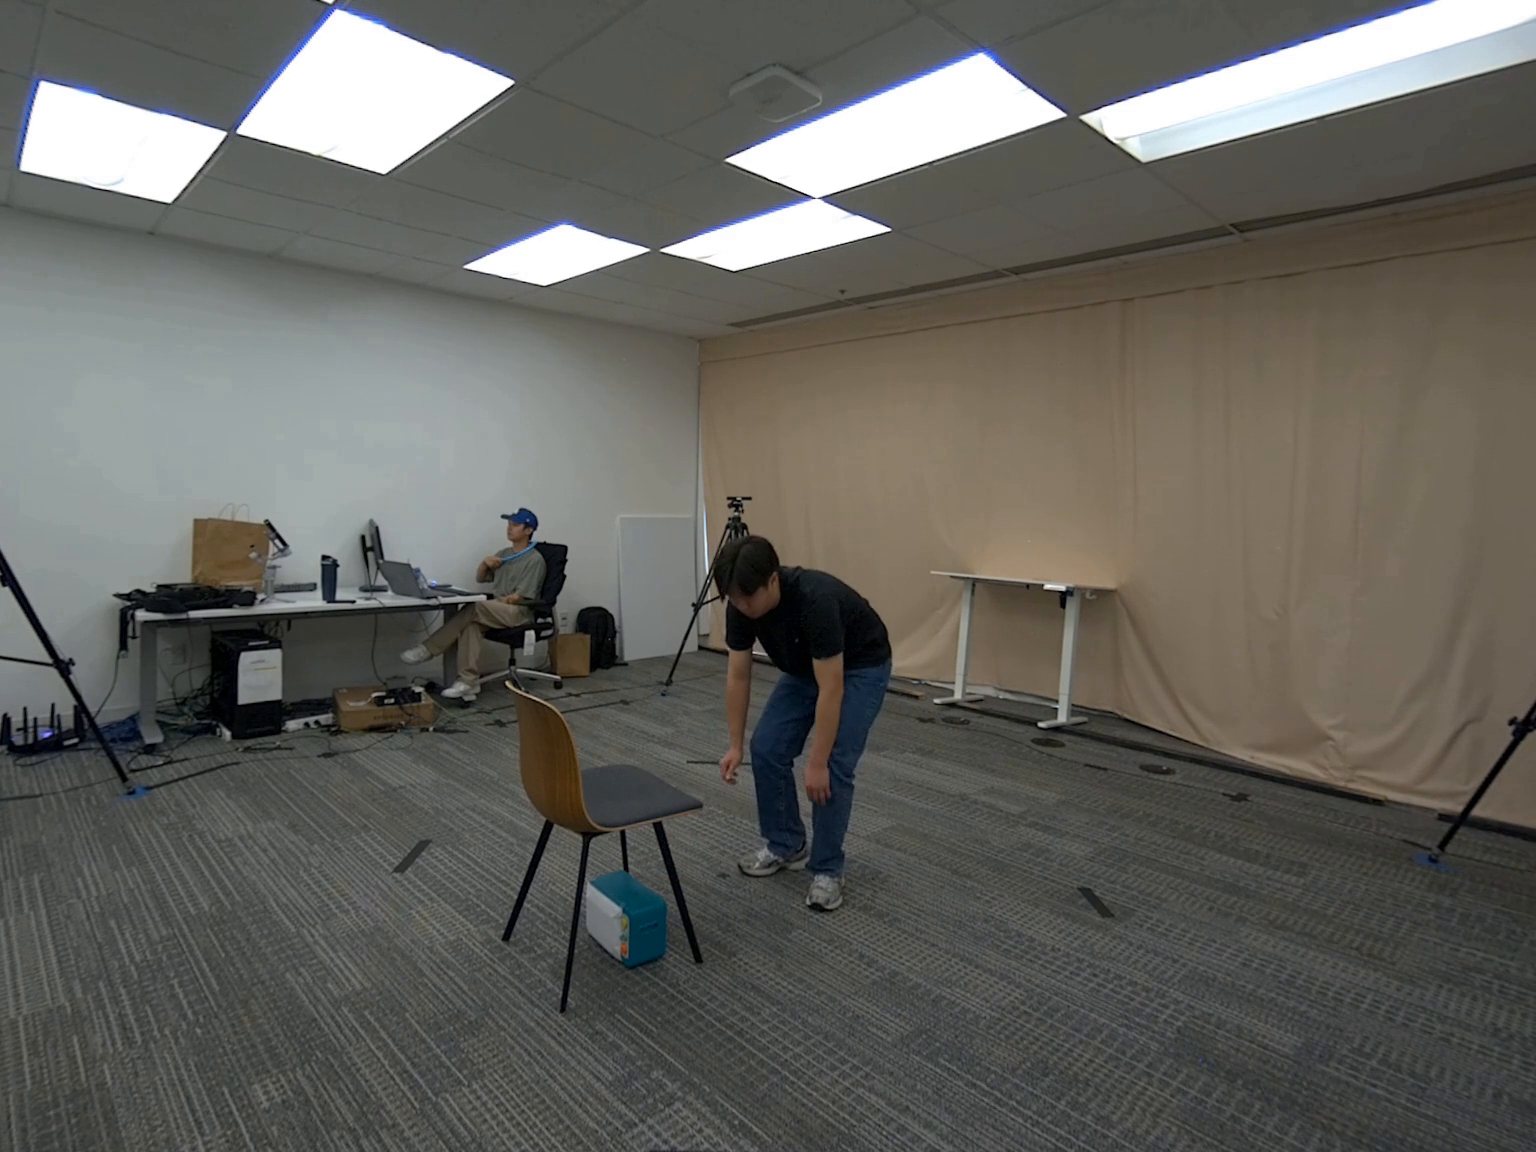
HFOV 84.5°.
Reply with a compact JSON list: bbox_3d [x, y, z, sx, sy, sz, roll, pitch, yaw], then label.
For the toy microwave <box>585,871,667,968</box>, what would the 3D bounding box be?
[{"bbox_3d":[-0.447,1.059,2.586,0.149,0.183,0.293,-2,5,-37],"label":"toy microwave"}]
